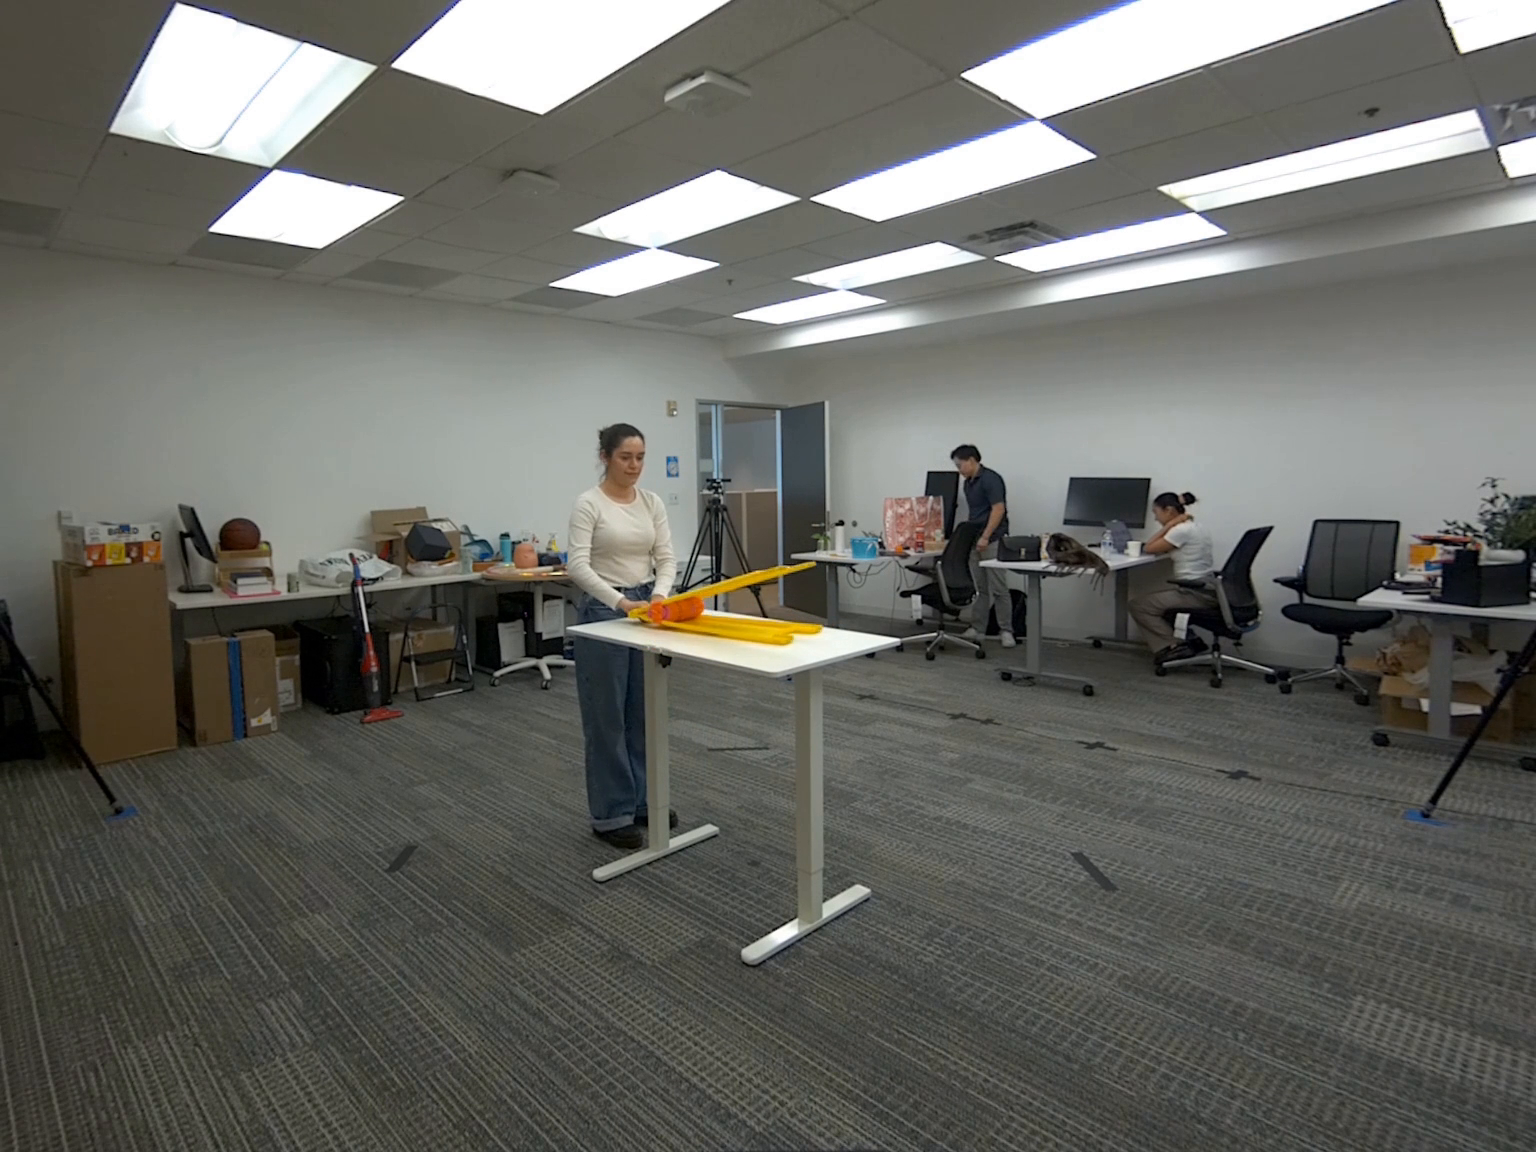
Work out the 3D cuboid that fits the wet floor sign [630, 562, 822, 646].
[{"bbox_3d":[-0.177,0.115,2.942,0.662,0.290,0.275,-5,1,33],"label":"wet floor sign"}]
